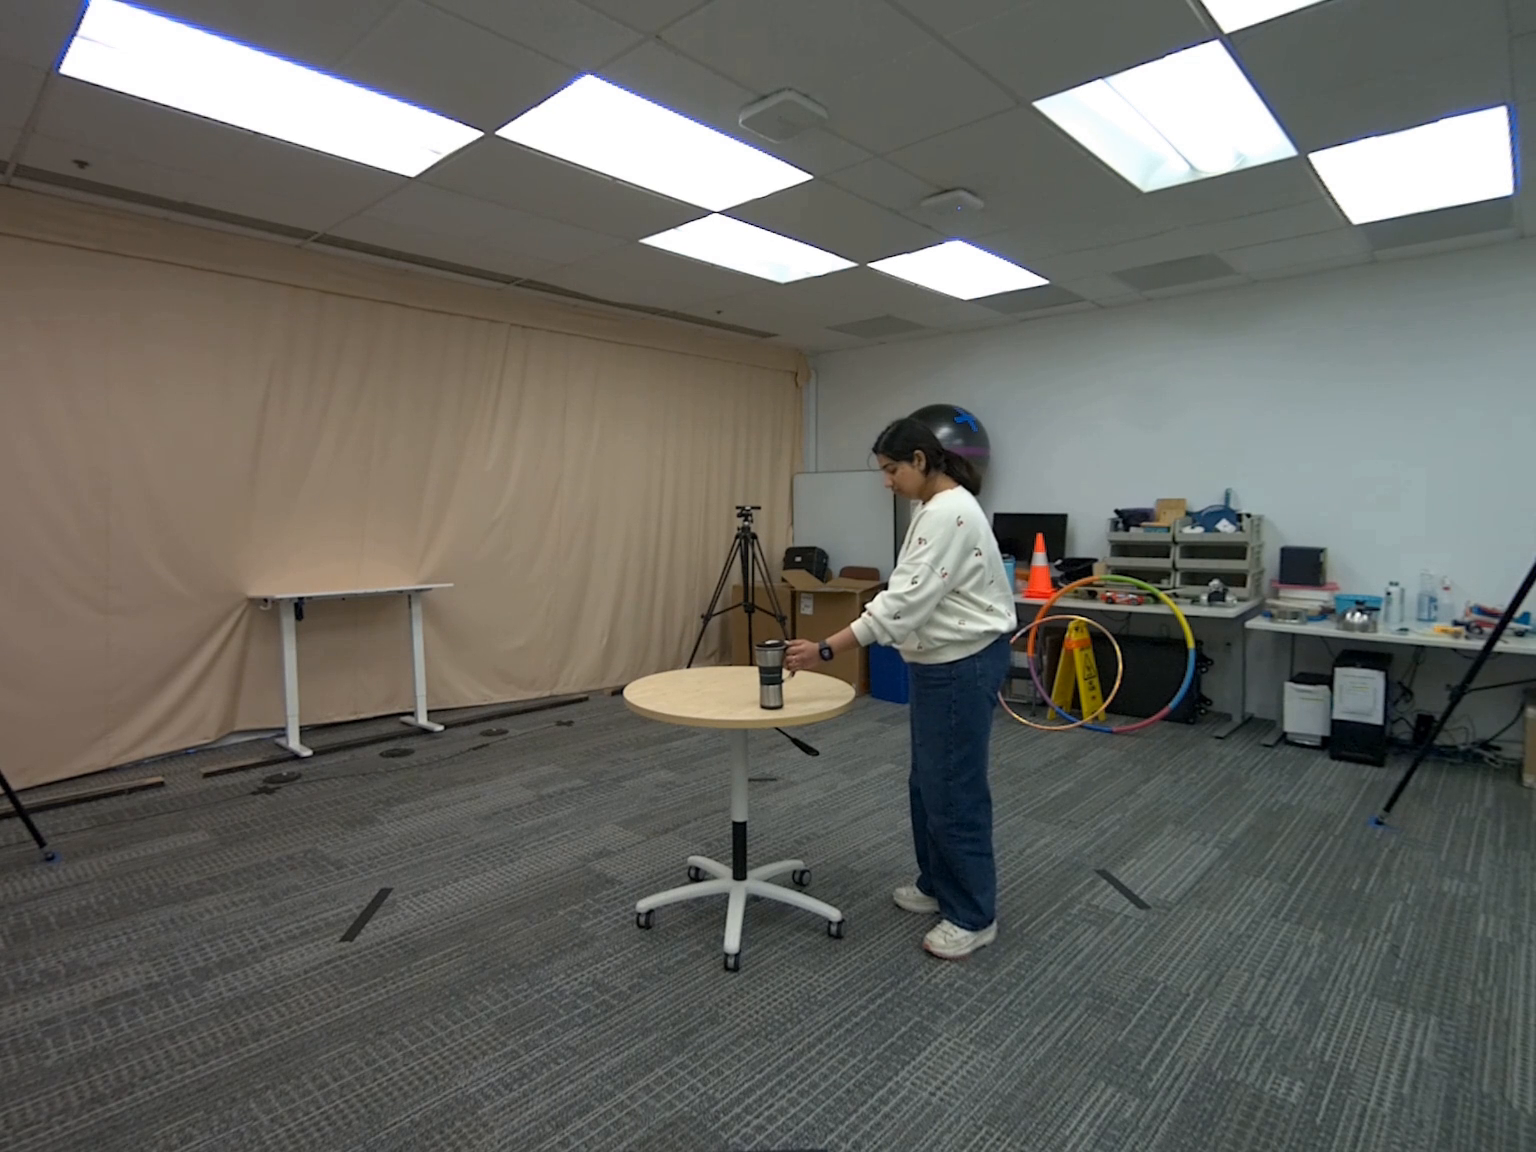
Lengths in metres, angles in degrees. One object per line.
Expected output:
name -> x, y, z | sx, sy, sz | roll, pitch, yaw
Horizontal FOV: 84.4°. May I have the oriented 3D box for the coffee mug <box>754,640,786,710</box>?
coffee mug -> 0.032, 0.304, 2.538 | 0.126, 0.203, 0.085 | 1, -4, 42
